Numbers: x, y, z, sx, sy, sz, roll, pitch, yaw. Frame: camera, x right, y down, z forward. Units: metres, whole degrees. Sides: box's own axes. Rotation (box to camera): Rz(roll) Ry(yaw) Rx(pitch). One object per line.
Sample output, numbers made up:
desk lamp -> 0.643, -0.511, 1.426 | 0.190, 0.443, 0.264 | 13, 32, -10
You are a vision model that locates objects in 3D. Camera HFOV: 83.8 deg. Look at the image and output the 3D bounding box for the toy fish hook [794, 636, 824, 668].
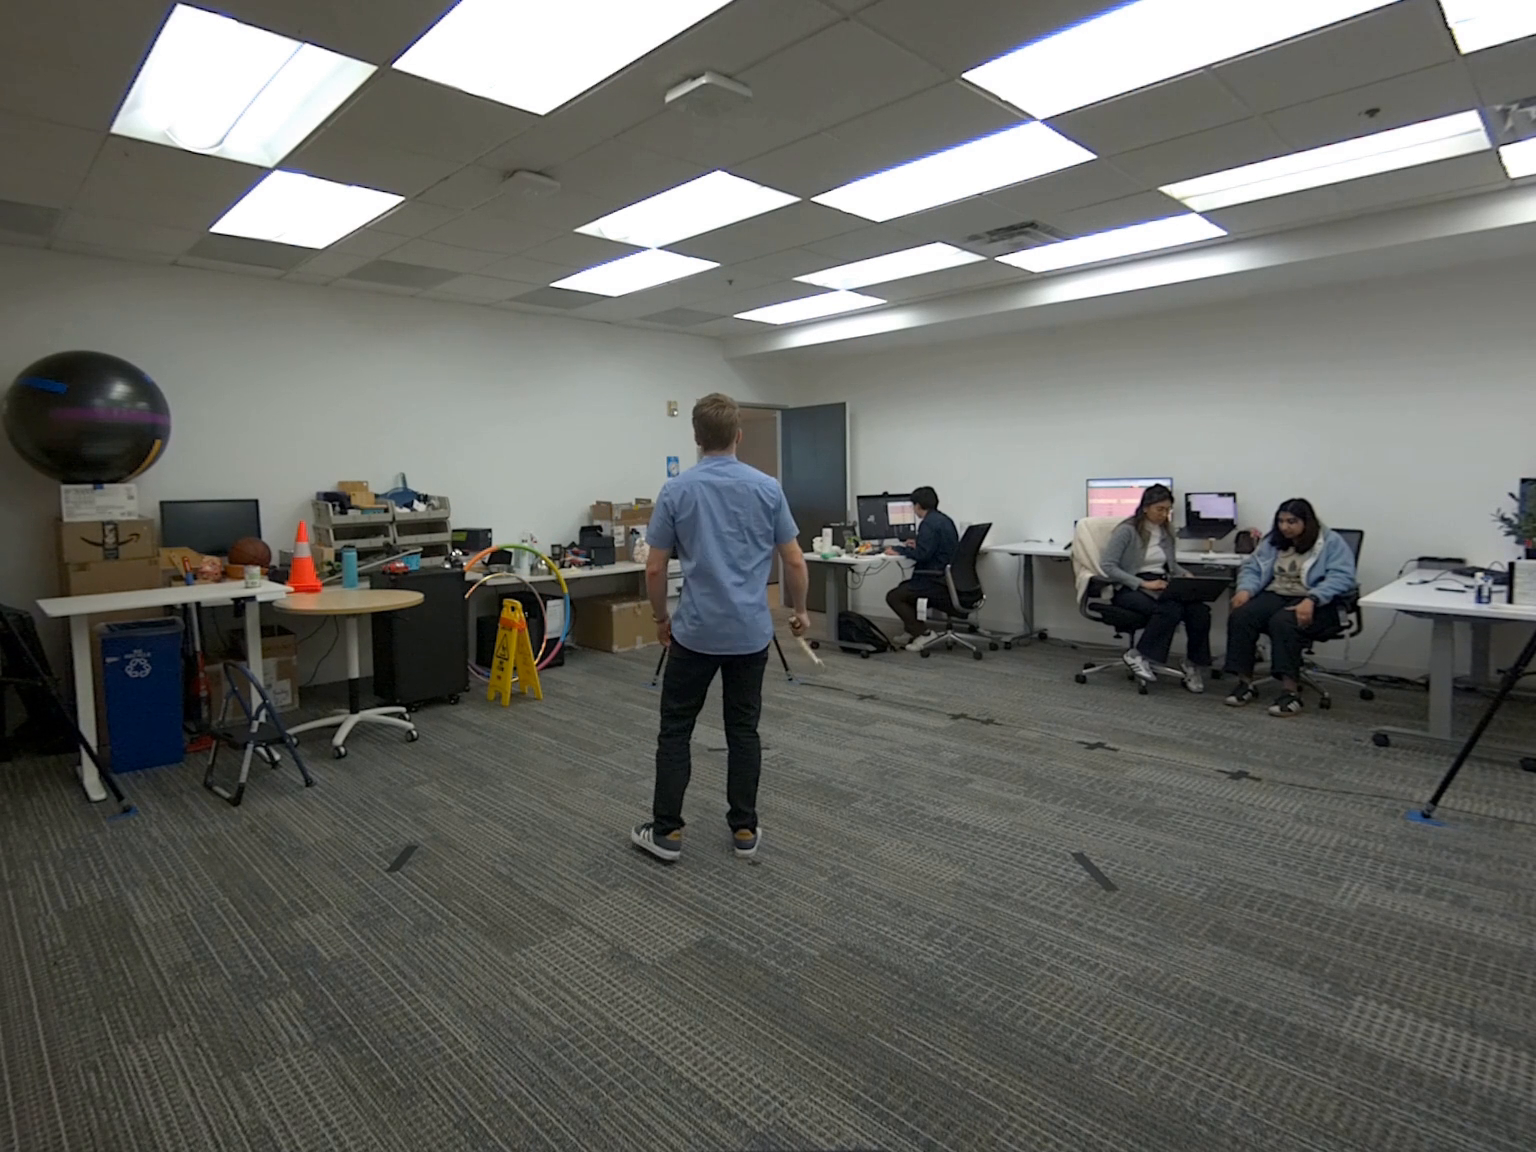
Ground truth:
toy fish hook -> 0.154, 0.258, 3.613 | 0.048, 0.229, 0.496 | -41, -15, -5
